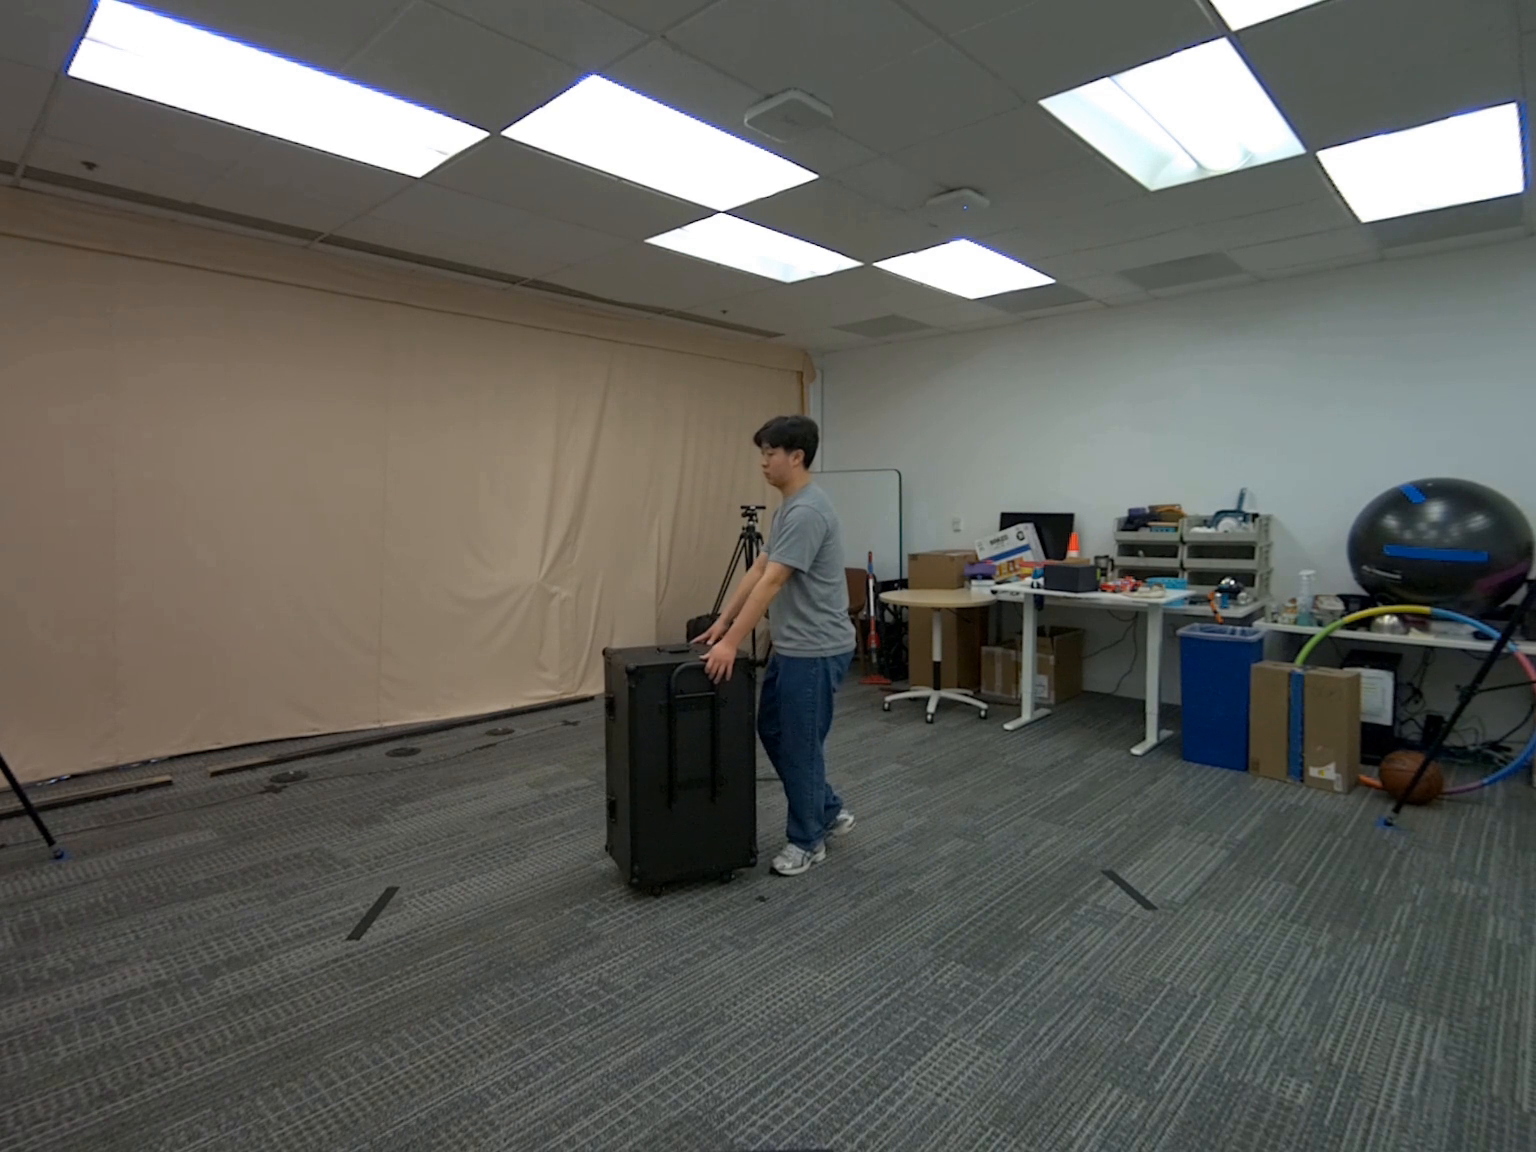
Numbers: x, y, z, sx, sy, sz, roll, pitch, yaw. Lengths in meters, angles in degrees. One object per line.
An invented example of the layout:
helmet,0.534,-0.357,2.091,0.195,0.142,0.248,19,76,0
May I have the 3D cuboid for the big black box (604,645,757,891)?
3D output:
big black box,-0.323,0.713,3.139,0.510,0.859,0.406,-1,5,-23
